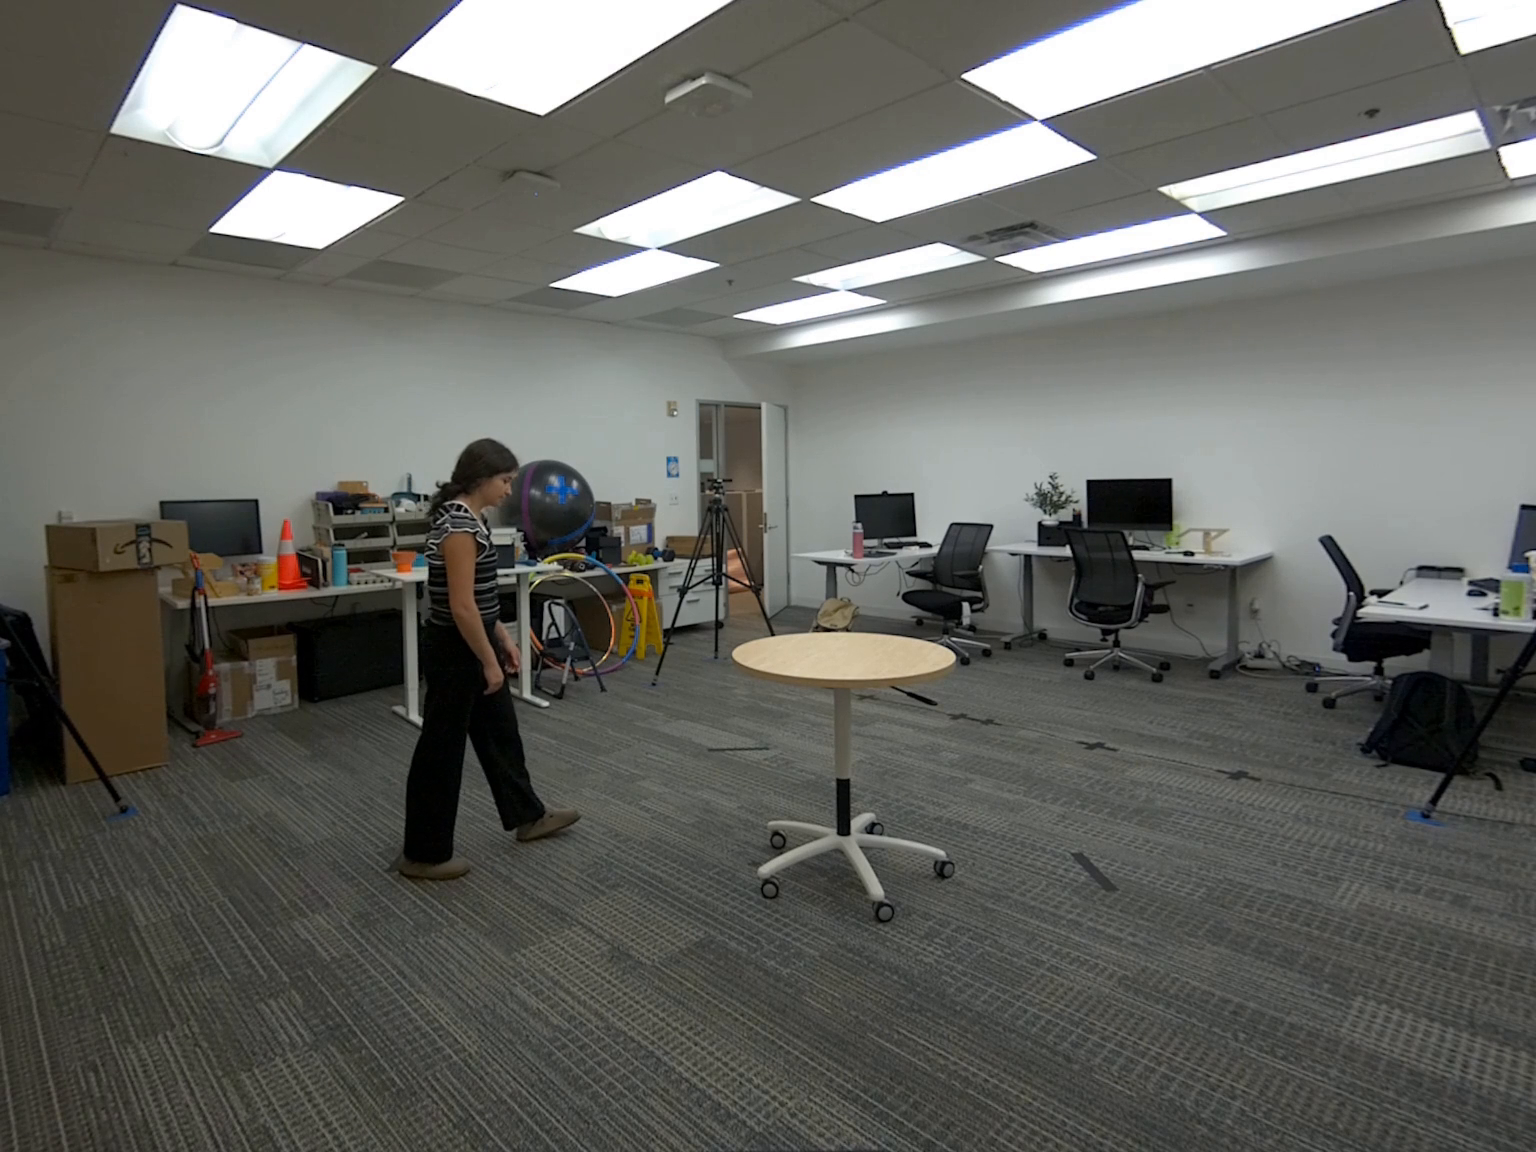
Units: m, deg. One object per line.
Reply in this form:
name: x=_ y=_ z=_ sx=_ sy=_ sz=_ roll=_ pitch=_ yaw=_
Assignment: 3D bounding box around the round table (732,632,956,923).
round table: x=0.263 y=0.651 z=3.011 sx=0.784 sy=0.783 sz=0.789 roll=-1 pitch=5 yaw=-2
